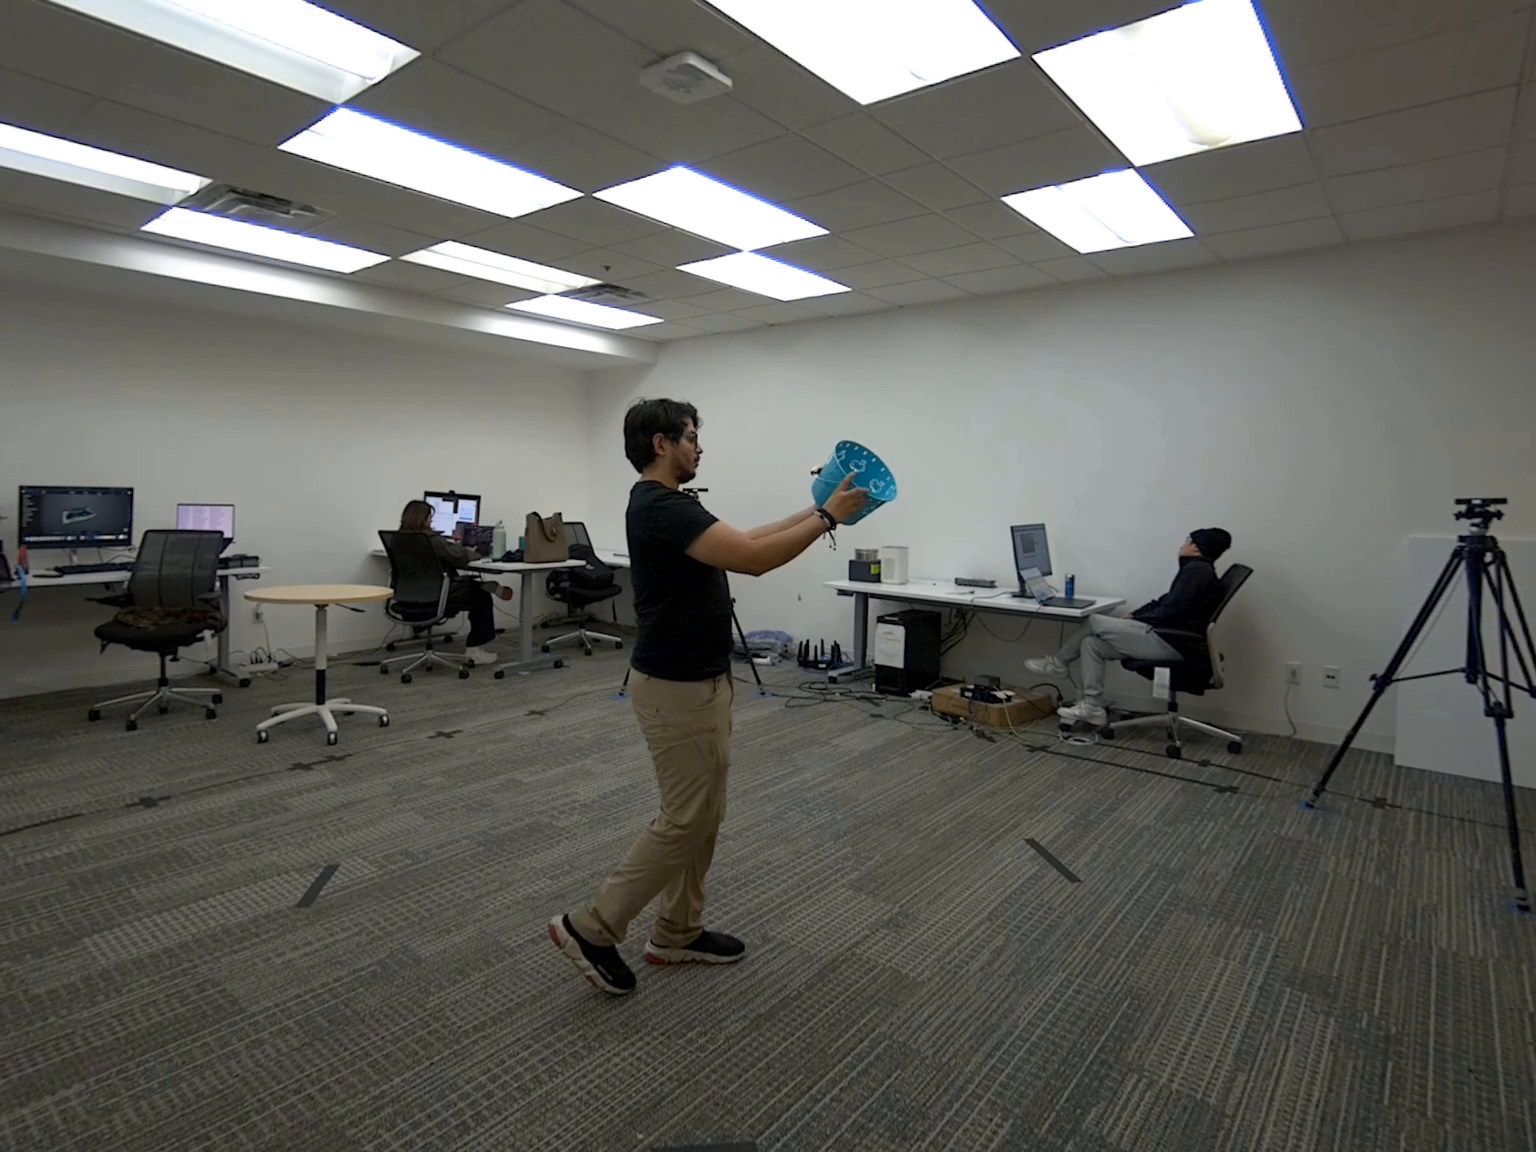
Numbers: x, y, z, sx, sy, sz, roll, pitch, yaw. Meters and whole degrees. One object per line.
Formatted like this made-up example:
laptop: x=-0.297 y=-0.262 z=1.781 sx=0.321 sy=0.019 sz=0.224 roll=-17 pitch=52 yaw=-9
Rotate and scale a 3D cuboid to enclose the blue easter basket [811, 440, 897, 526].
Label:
blue easter basket: x=0.238 y=-0.263 z=2.523 sx=0.236 sy=0.251 sz=0.156 roll=-3 pitch=-34 yaw=-41
